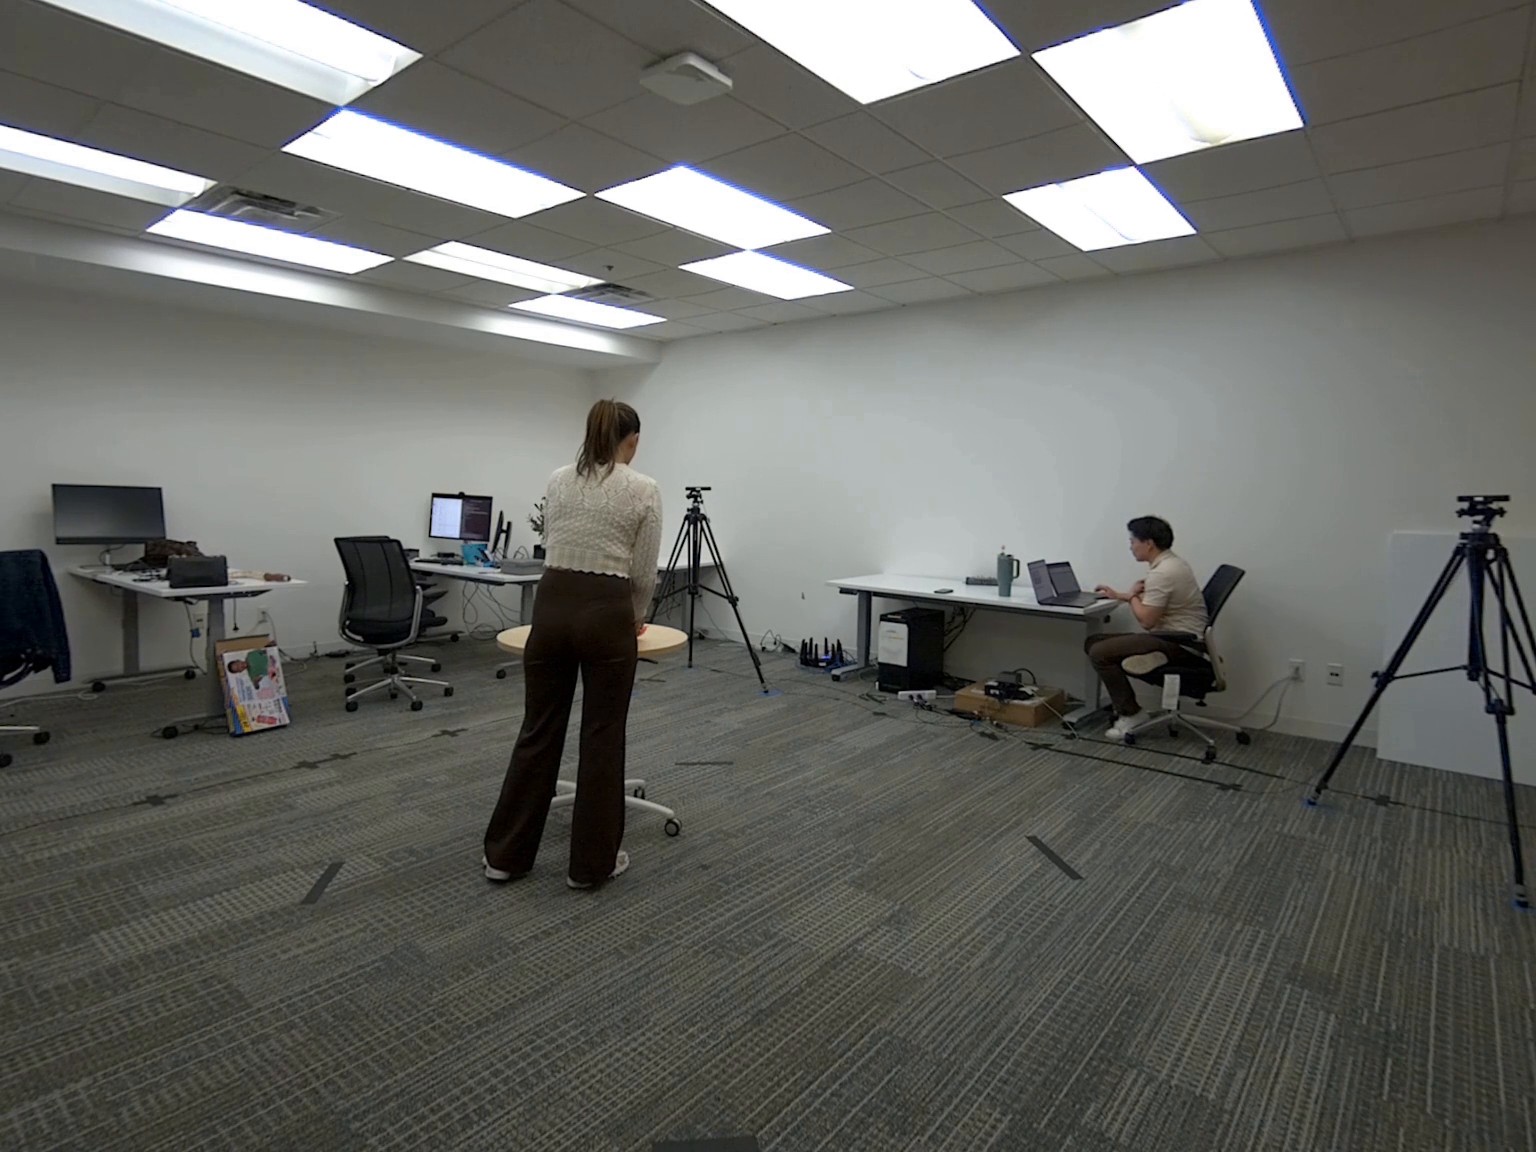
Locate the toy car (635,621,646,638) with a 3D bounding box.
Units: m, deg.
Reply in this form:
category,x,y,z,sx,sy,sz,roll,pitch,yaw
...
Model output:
category,x,y,z,sx,sy,sz,roll,pitch,yaw
toy car,-0.605,0.218,3.370,0.257,0.083,0.129,-8,3,10
